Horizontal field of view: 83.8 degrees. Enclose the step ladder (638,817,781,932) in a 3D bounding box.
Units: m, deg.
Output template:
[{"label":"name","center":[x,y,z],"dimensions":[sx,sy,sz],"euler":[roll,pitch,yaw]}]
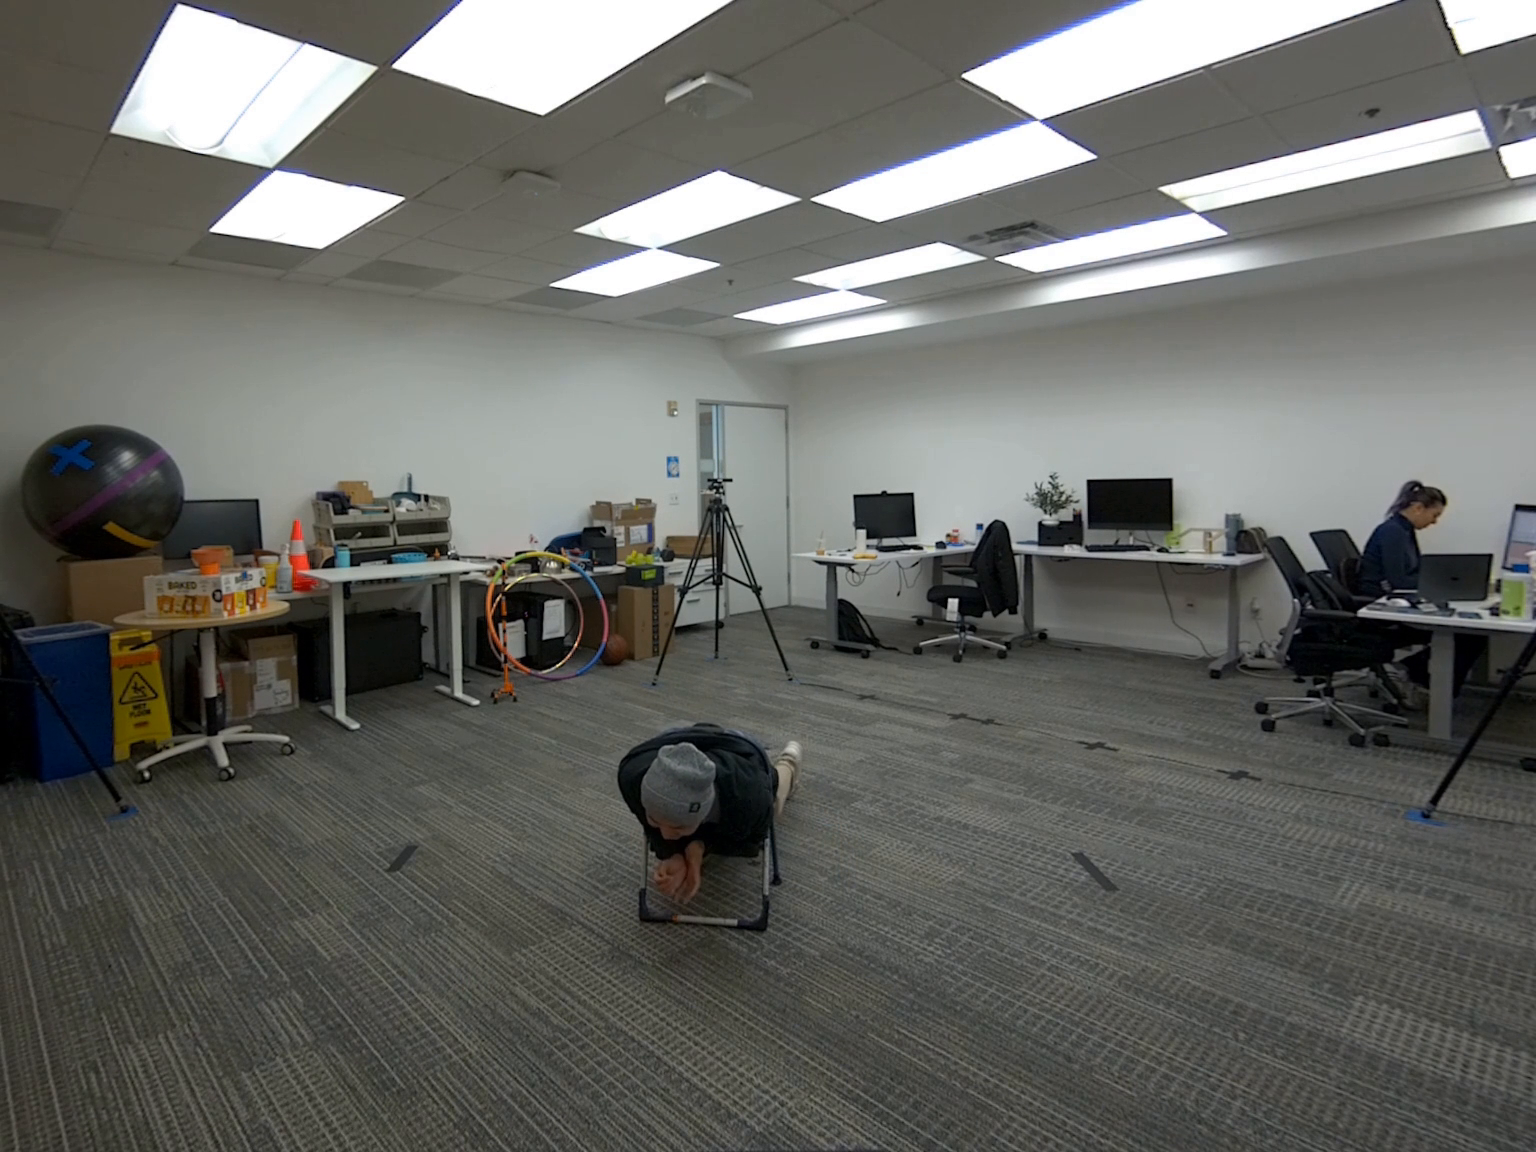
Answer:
[{"label":"step ladder","center":[-0.183,0.792,2.814],"dimensions":[0.434,0.604,0.348],"euler":[-1,5,7]}]
